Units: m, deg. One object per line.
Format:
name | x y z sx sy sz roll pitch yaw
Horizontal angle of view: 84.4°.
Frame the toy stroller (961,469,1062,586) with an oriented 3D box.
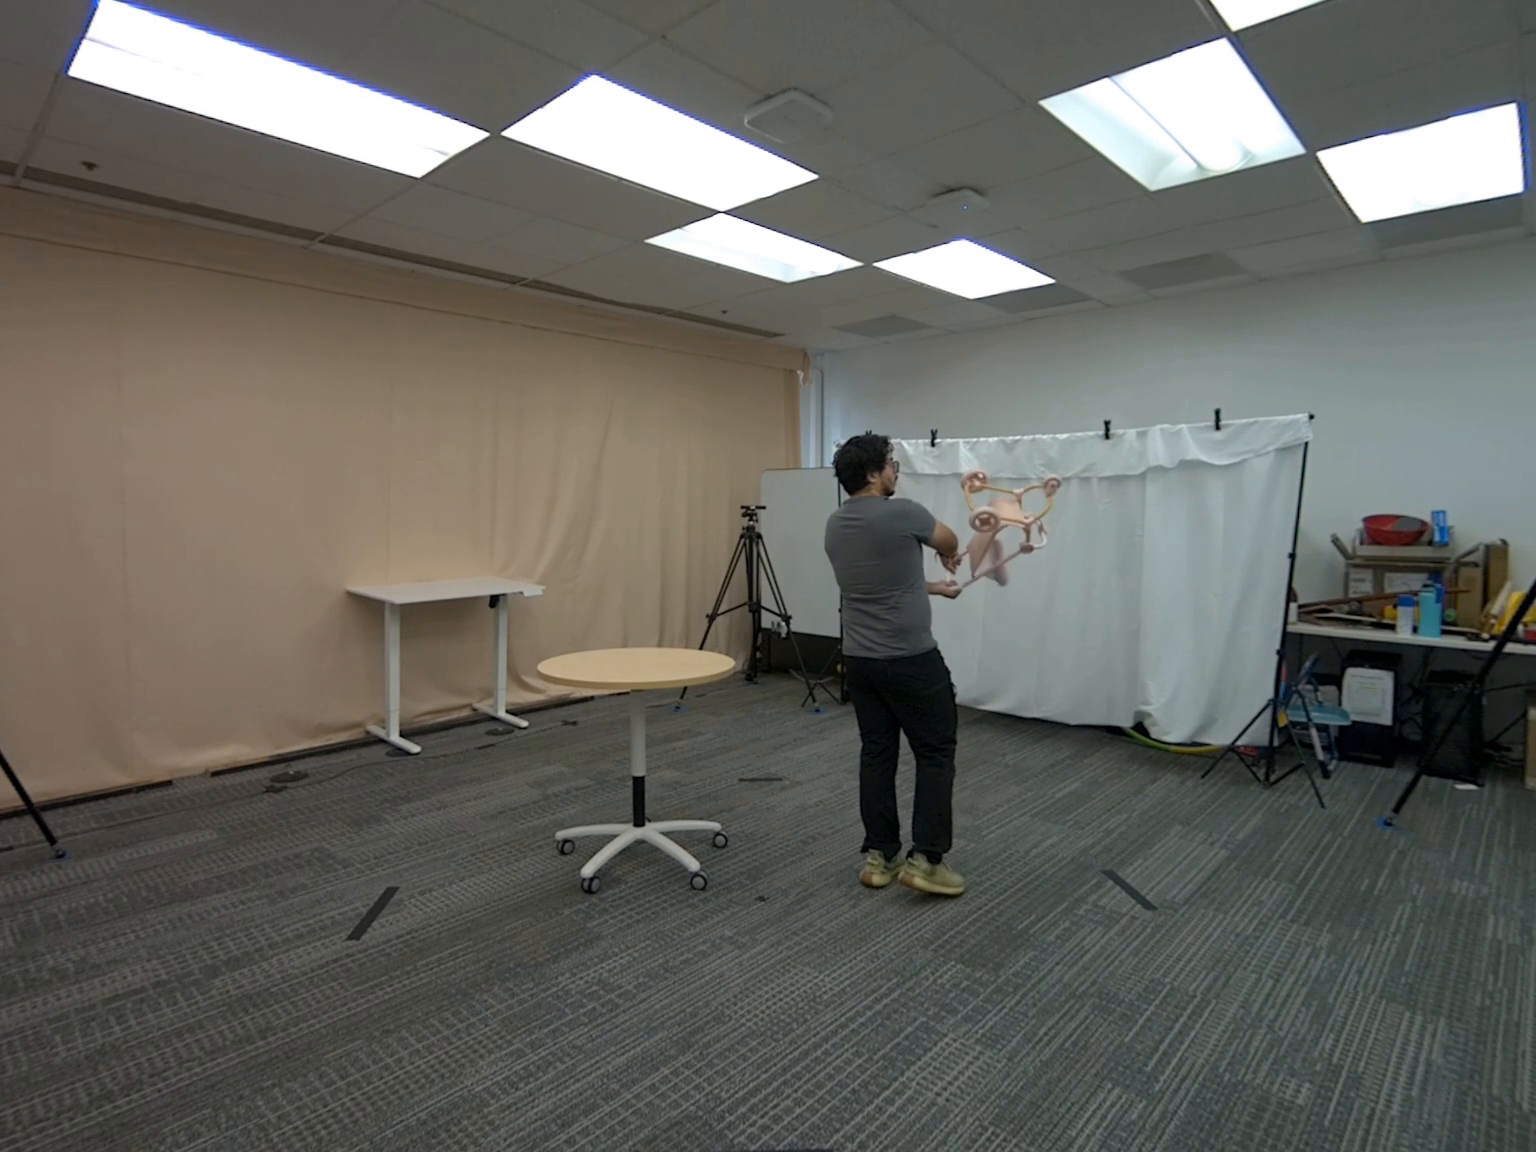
toy stroller | 0.903 -0.162 3.213 0.342 0.525 0.286 0 39 0
